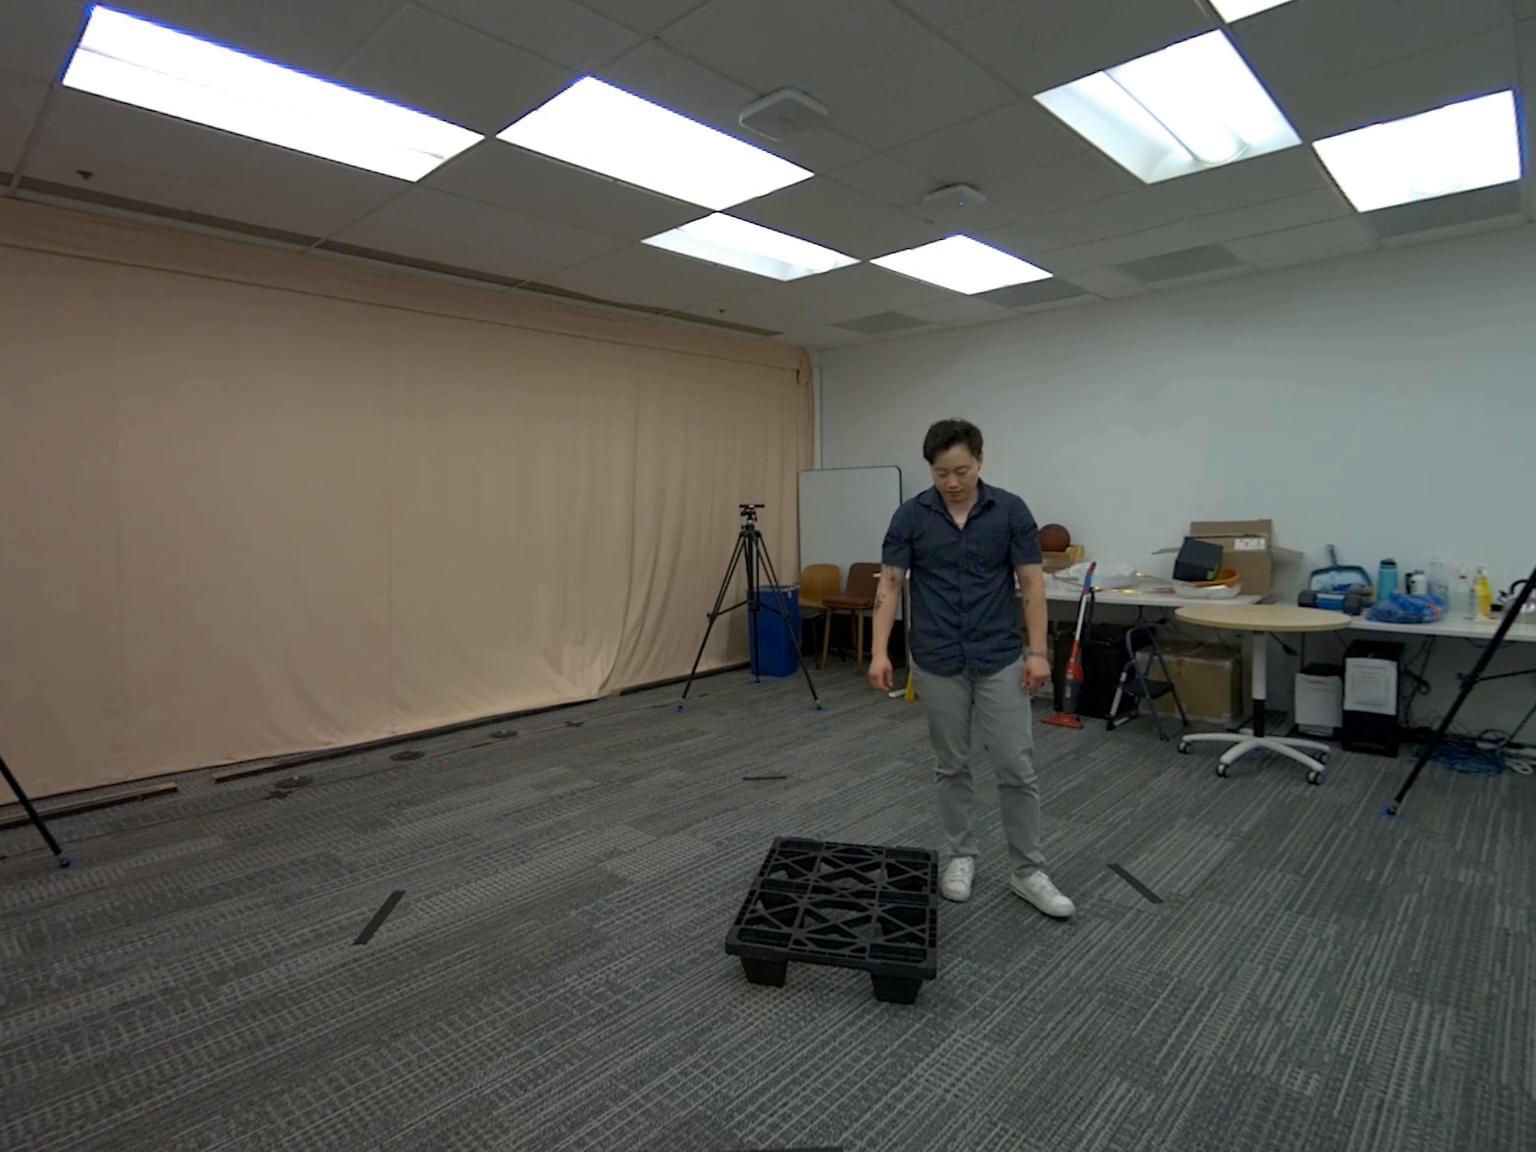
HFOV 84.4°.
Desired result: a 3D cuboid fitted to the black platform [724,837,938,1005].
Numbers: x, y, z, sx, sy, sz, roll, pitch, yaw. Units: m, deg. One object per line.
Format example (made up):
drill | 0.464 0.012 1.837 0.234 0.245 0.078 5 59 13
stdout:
black platform | 0.249 1.087 2.738 0.614 0.143 0.796 1 5 13
